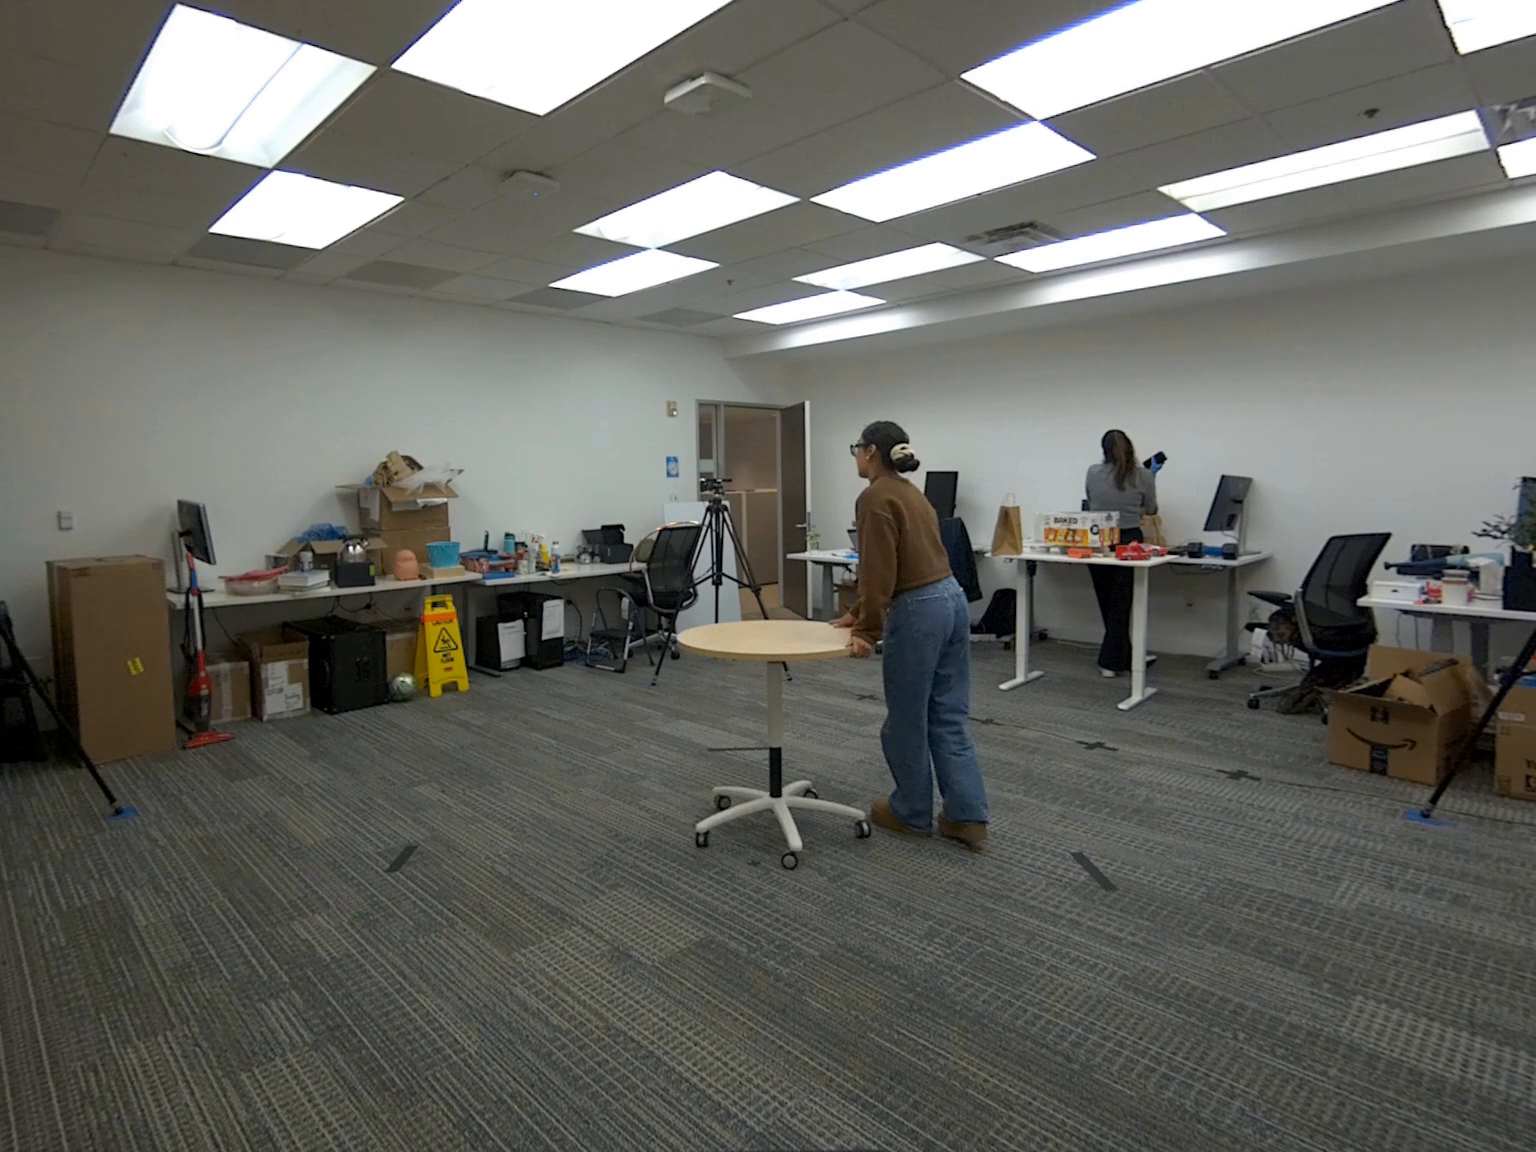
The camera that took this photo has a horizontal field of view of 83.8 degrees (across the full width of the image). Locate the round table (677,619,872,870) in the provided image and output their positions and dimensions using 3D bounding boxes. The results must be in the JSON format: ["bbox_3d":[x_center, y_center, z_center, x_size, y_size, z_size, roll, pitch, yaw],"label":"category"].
[{"bbox_3d":[0.021,0.617,3.388,0.784,0.784,0.789,0,4,-2],"label":"round table"}]
